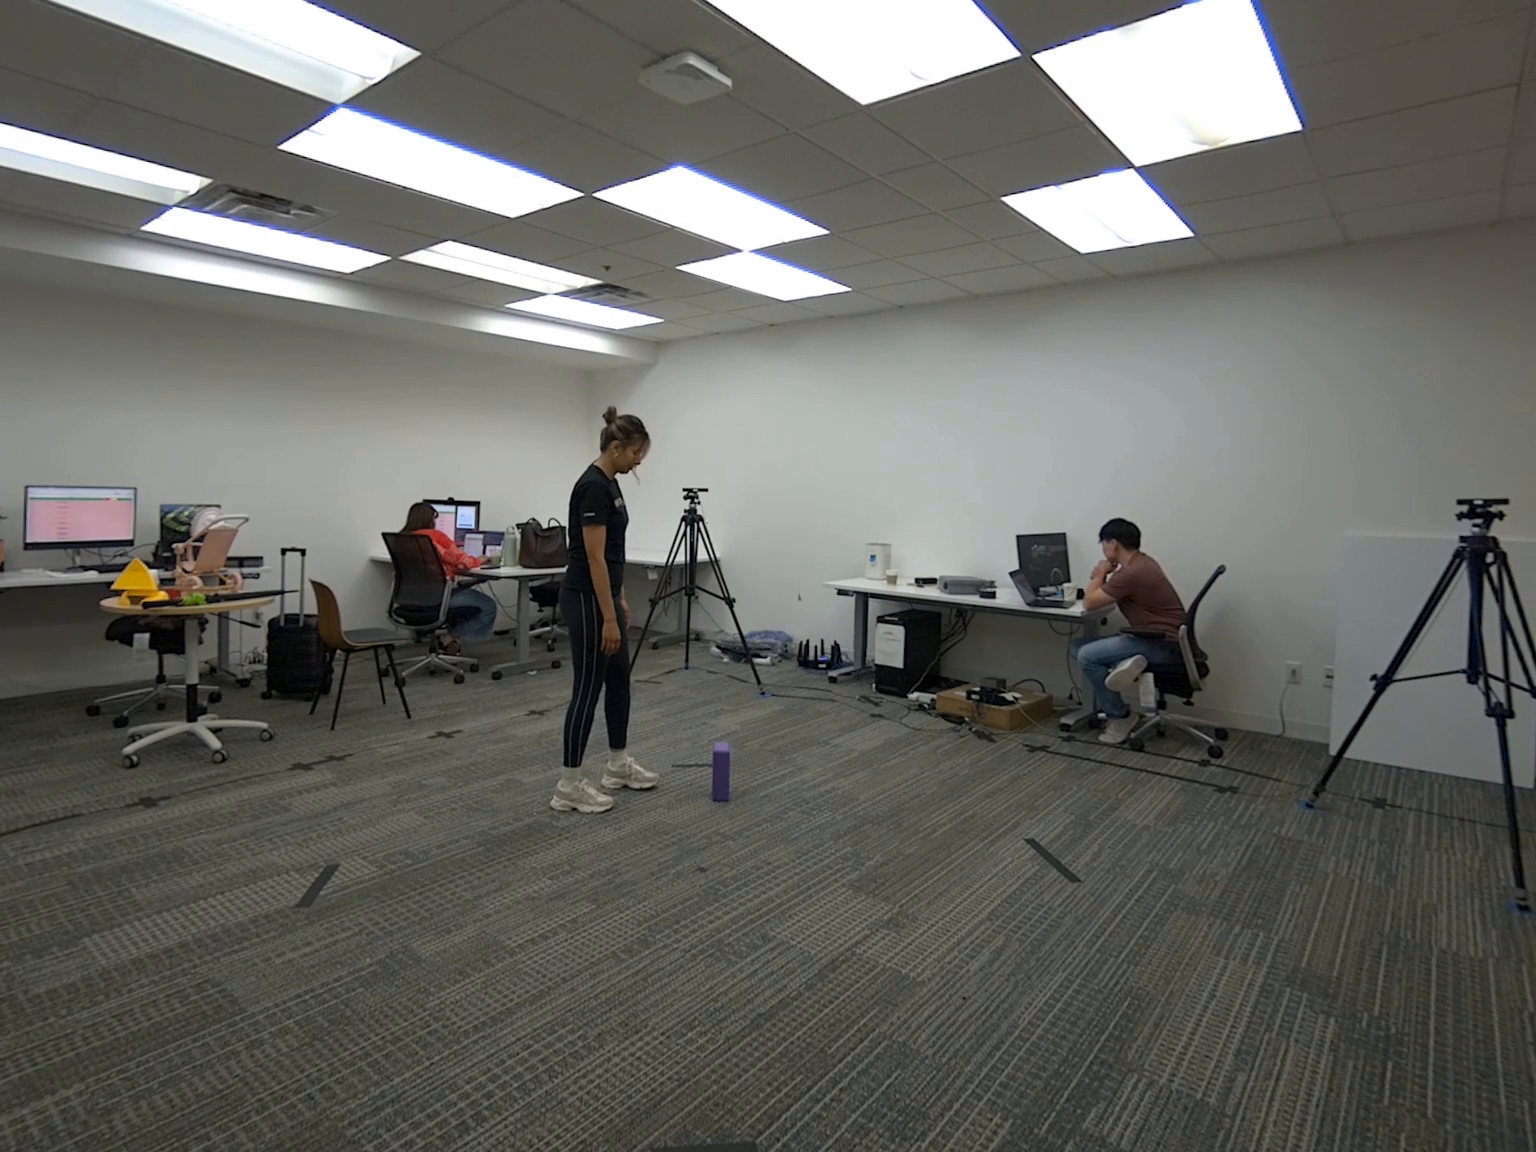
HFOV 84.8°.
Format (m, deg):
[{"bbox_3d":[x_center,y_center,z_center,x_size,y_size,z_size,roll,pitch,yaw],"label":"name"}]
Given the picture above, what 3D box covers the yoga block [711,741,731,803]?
[{"bbox_3d":[-0.221,0.883,3.858,0.076,0.229,0.150,0,3,-4],"label":"yoga block"}]
